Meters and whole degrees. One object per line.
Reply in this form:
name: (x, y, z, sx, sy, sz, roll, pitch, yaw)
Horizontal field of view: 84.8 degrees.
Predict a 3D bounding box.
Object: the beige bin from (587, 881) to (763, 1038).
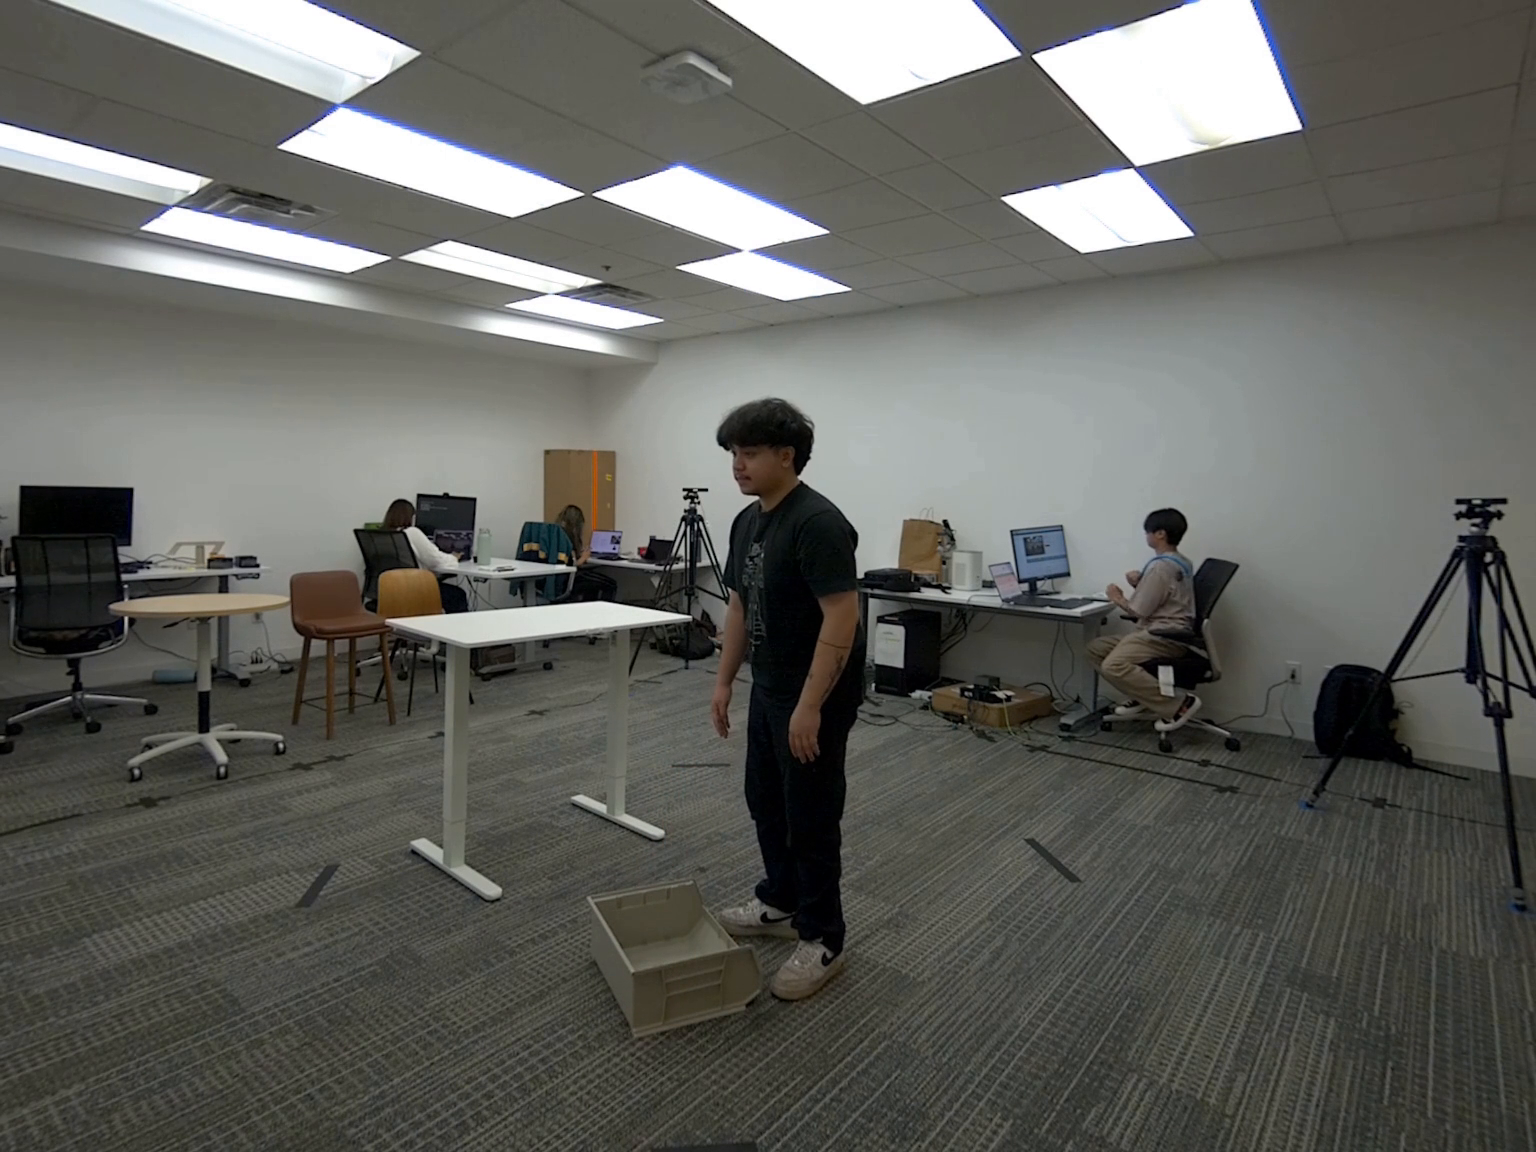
beige bin: (-0.277, 1.052, 2.398, 0.368, 0.188, 0.434, -2, 7, -26)
